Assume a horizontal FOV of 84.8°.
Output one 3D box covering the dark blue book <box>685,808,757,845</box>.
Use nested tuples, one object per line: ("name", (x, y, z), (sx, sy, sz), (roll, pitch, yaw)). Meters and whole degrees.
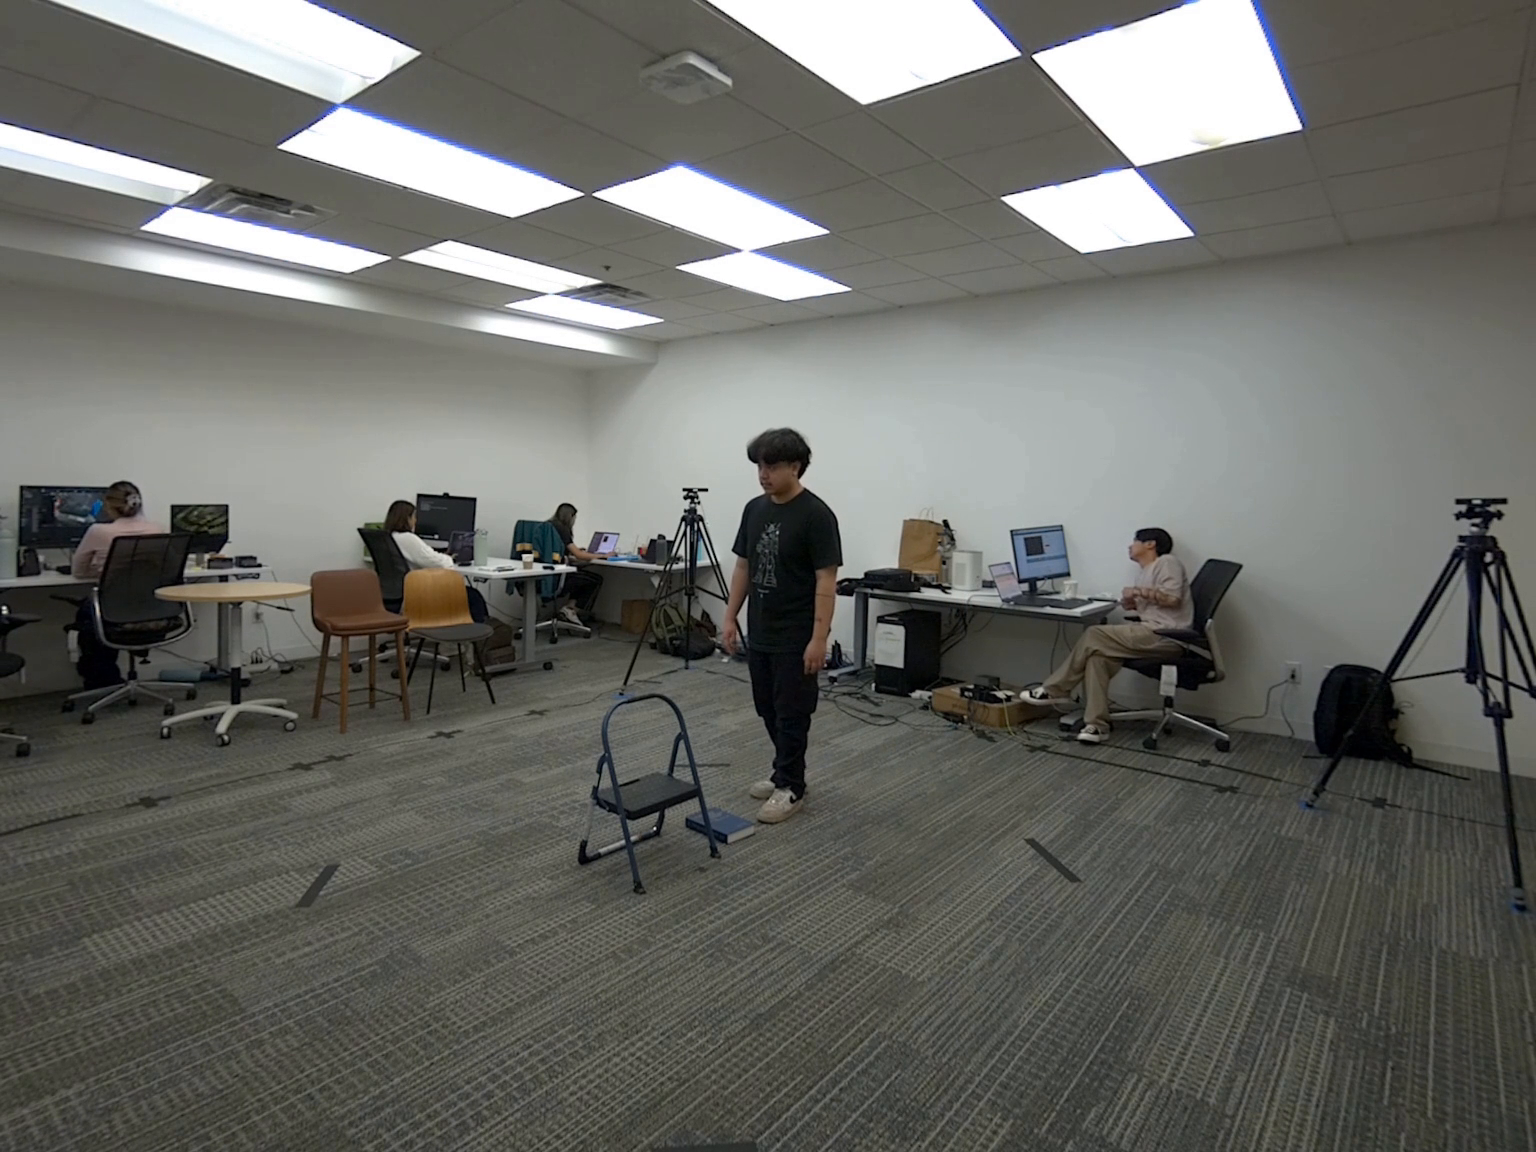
("dark blue book", (-0.204, 1.015, 3.469), (0.253, 0.045, 0.158), (6, 8, 43))
